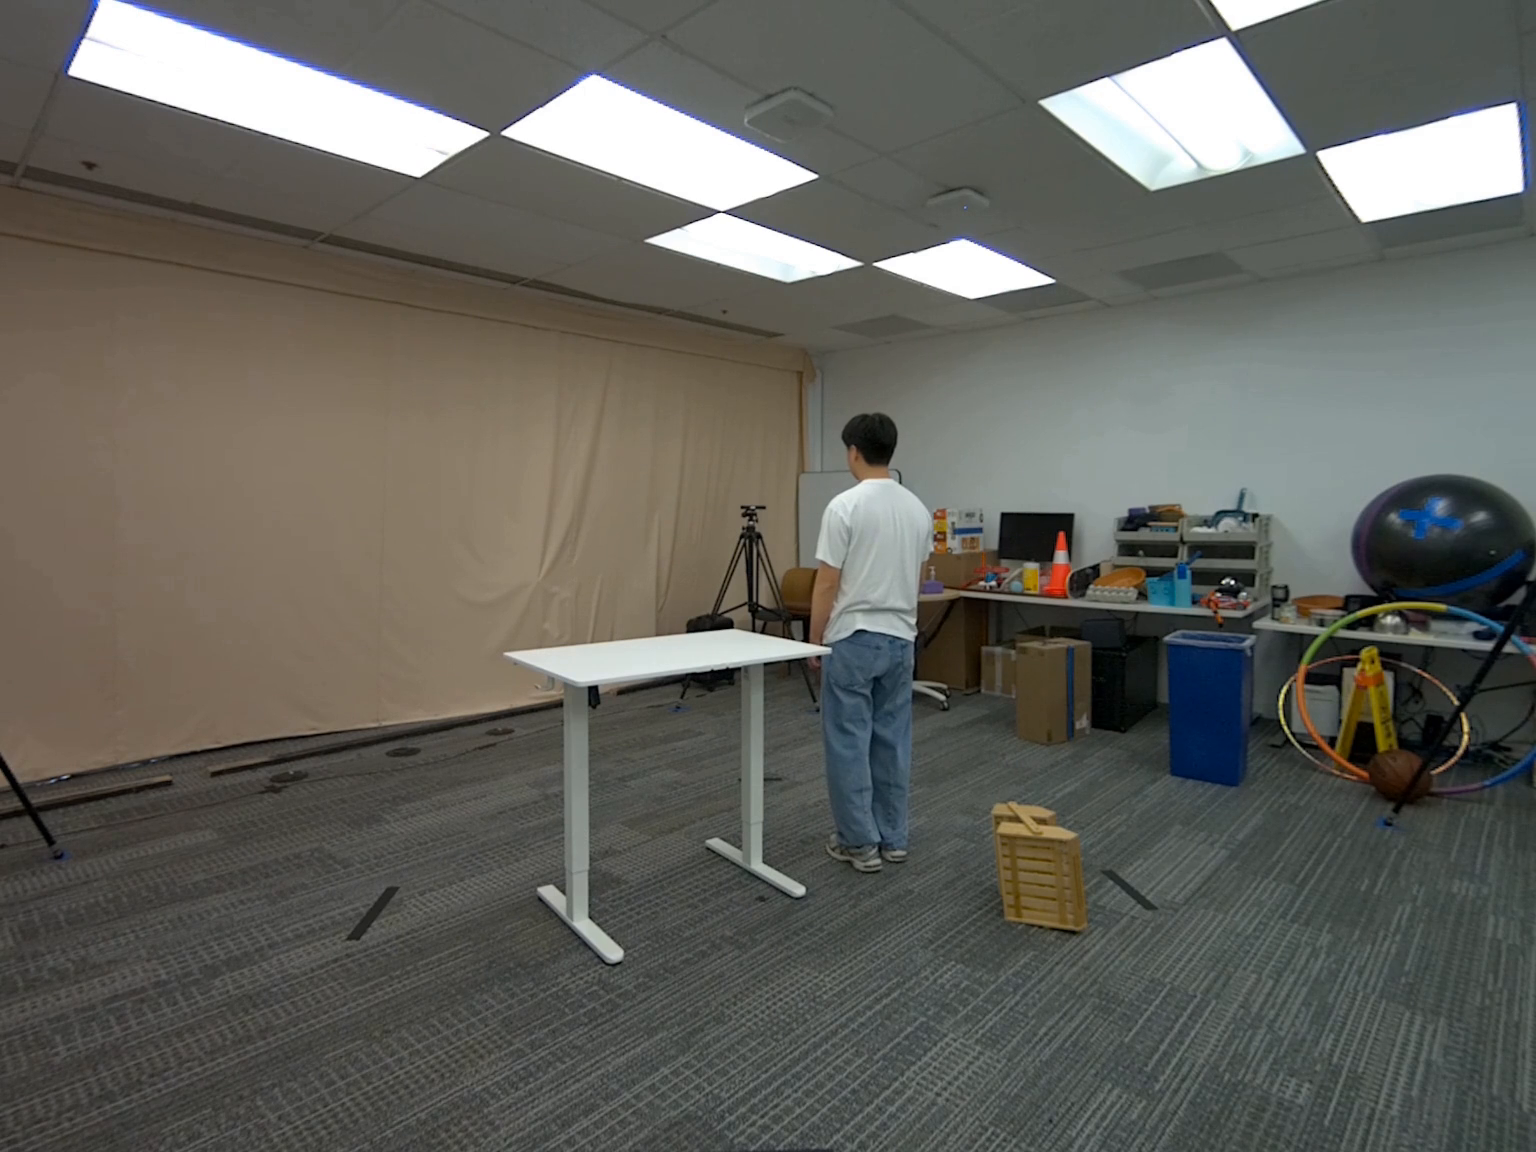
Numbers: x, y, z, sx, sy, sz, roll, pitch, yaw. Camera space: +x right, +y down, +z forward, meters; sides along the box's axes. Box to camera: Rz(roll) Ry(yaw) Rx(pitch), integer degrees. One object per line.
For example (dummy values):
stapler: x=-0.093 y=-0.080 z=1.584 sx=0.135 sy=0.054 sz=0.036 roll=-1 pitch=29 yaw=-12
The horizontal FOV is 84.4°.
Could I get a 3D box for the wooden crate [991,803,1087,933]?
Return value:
wooden crate: x=0.935 y=0.986 z=2.887 sx=0.310 sy=0.323 sz=0.267 roll=-3 pitch=5 yaw=26
